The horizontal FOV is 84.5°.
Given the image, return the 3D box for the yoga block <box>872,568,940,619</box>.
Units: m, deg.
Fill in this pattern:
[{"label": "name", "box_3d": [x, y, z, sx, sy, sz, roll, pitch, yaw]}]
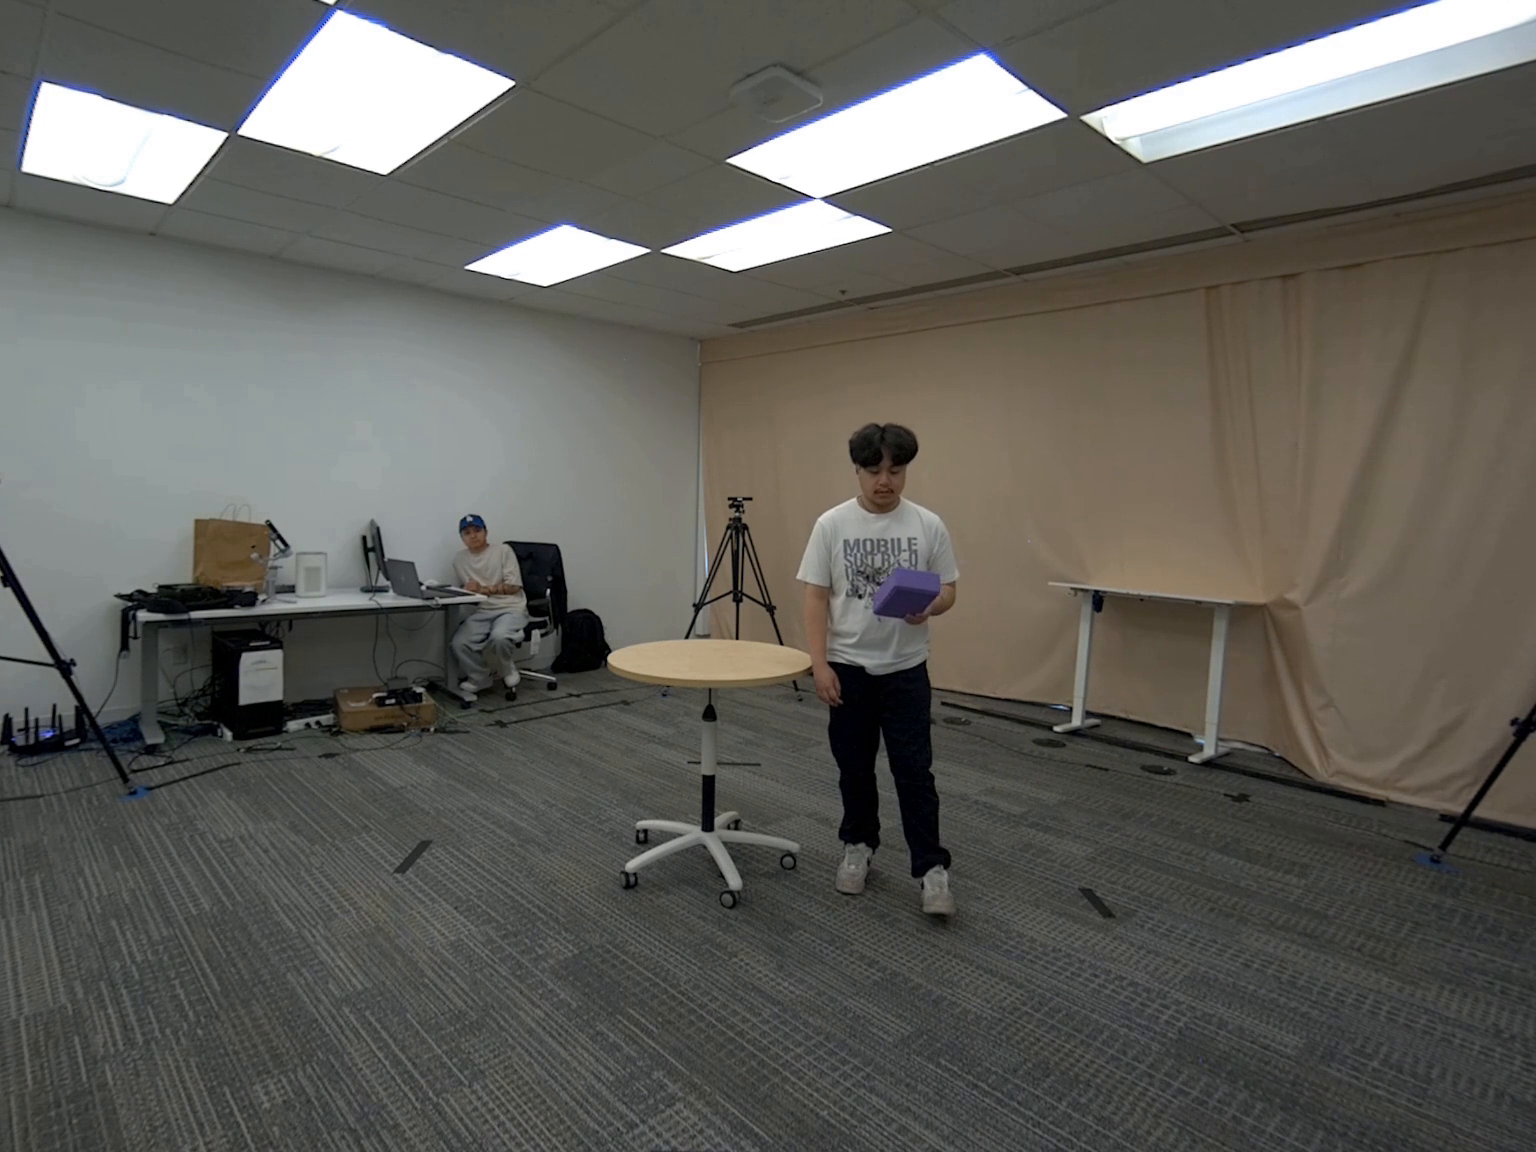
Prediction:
[{"label": "yoga block", "box_3d": [0.424, 0.056, 2.655, 0.149, 0.077, 0.225, 4, -25, 2]}]
